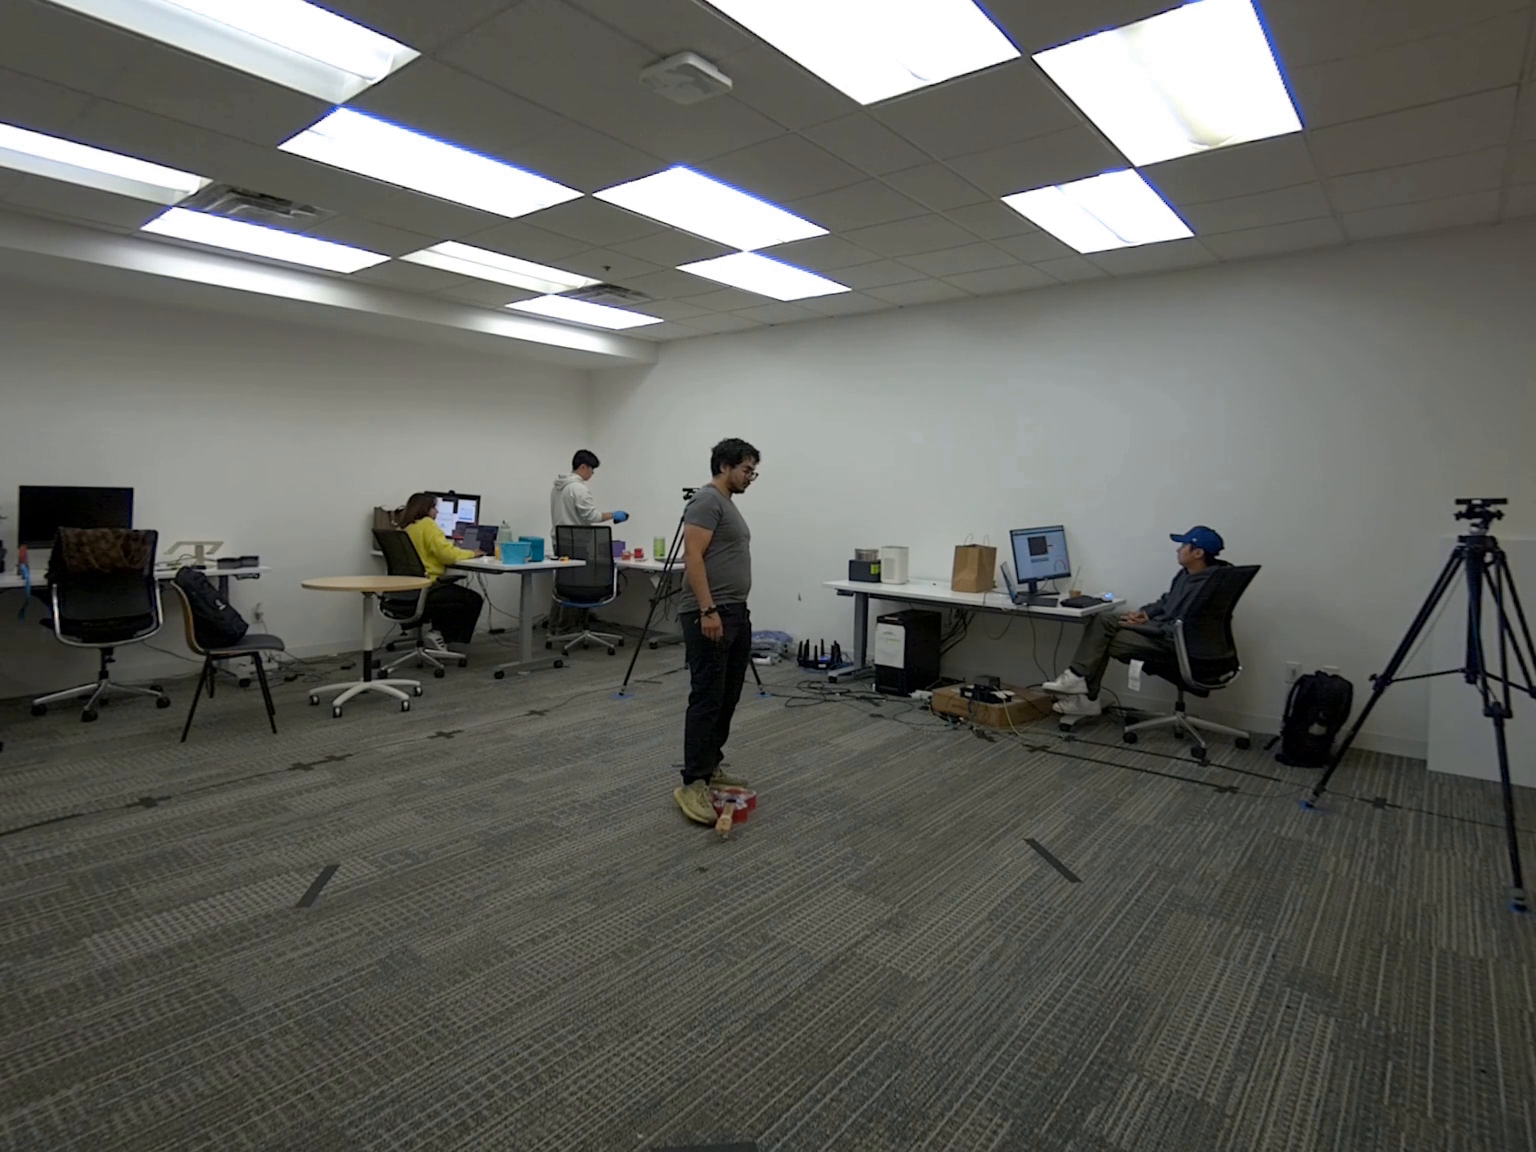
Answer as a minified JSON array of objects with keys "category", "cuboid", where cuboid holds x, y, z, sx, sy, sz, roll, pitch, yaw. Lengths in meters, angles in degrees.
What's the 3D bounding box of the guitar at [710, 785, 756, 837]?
[{"category":"guitar","cuboid":[-0.200,0.988,3.571,0.196,0.070,0.492,2,6,13]}]
